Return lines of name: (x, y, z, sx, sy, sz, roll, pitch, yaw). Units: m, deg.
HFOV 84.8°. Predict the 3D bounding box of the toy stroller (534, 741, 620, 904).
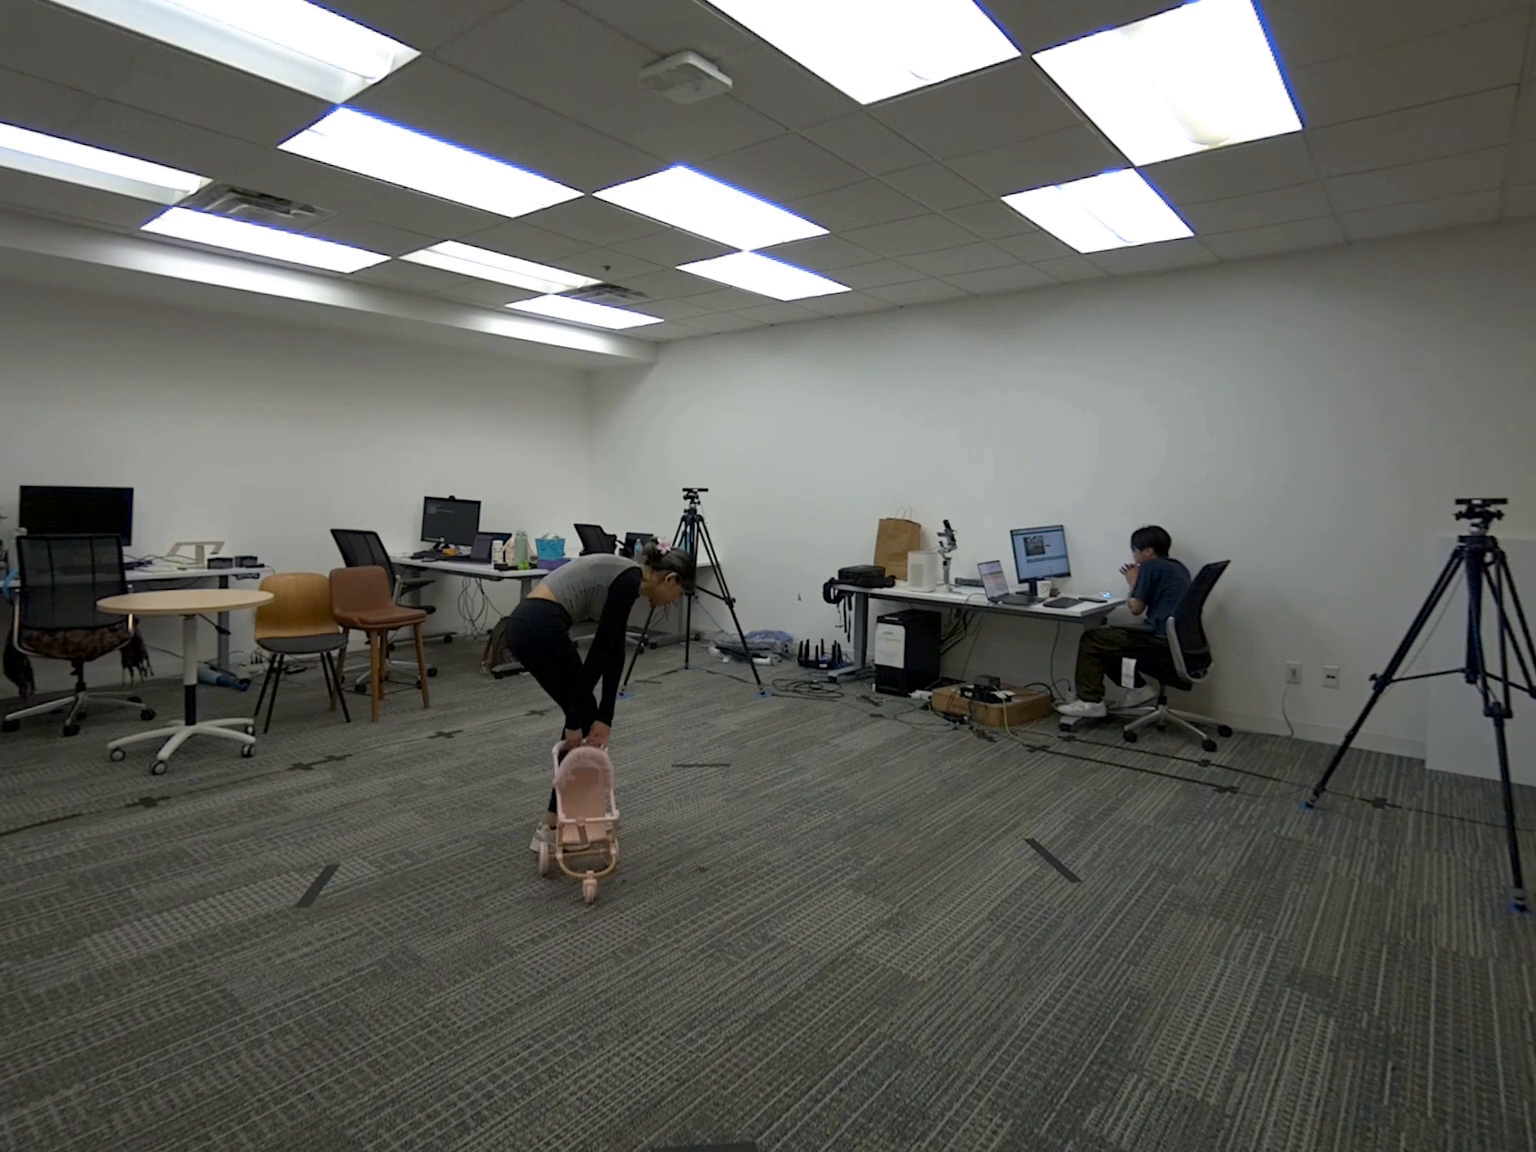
toy stroller: (-0.661, 0.844, 3.006, 0.276, 0.542, 0.343, 2, -13, -17)
